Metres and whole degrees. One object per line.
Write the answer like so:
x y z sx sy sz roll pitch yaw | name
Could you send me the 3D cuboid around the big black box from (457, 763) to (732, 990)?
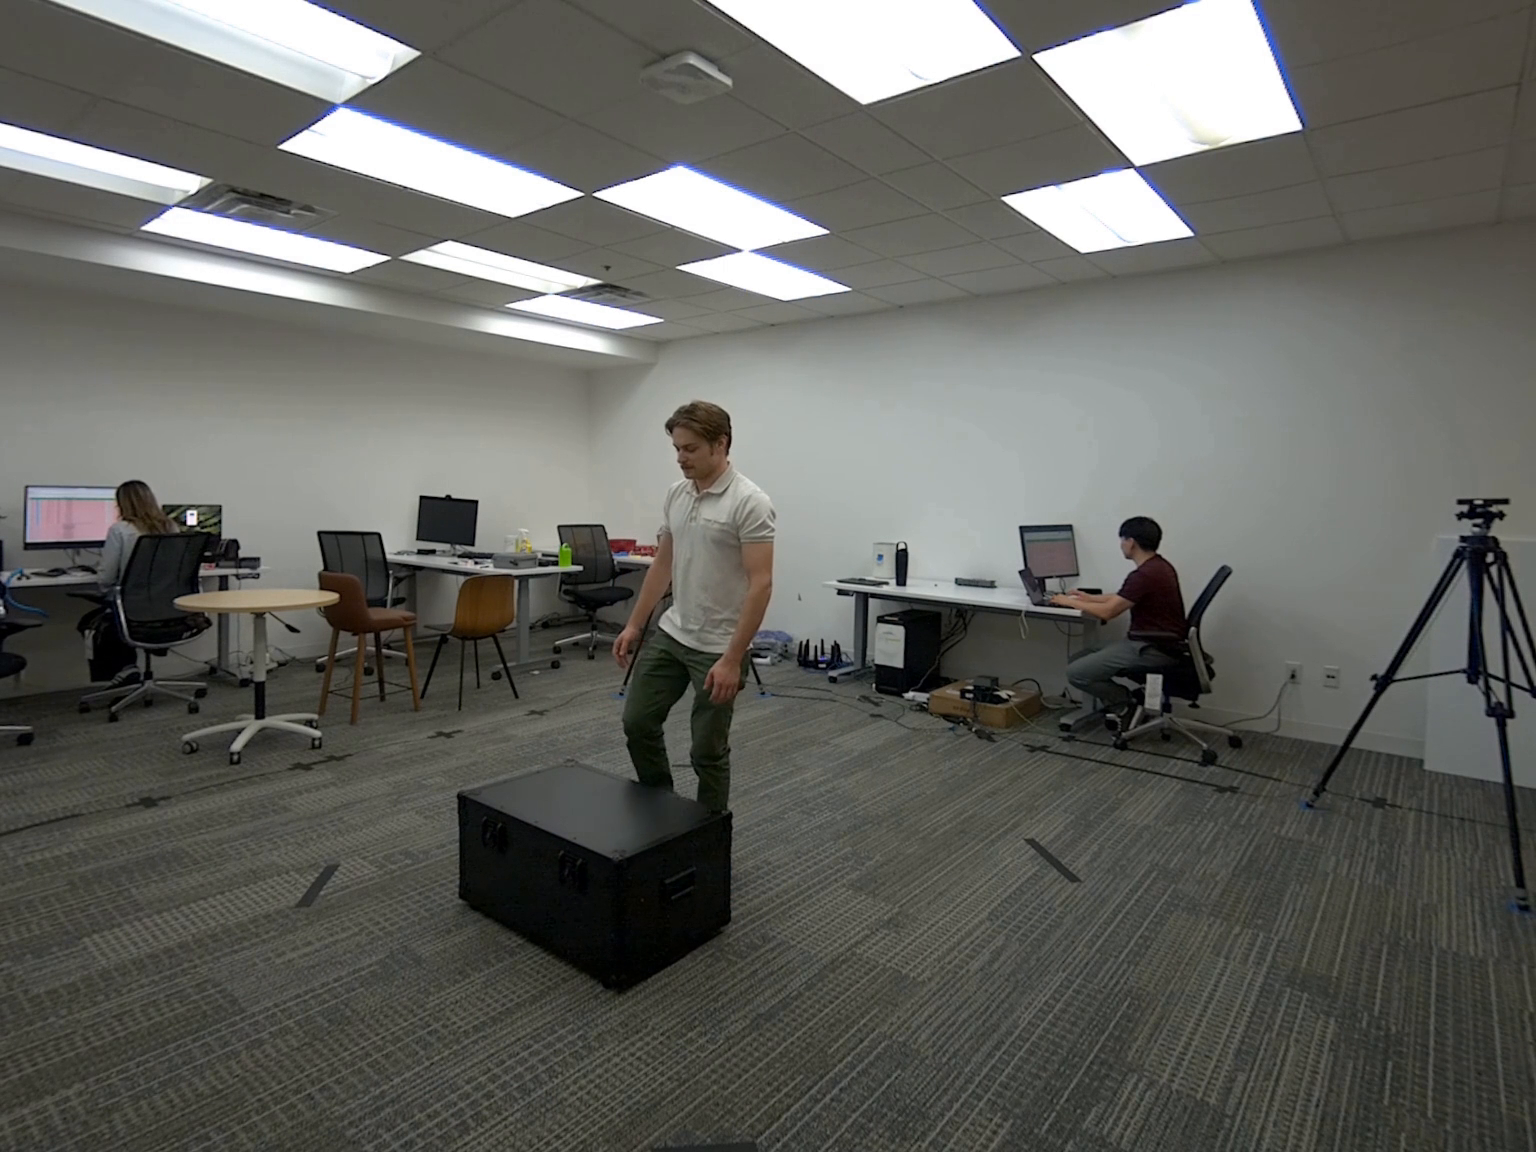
-0.601 0.900 2.765 0.897 0.383 0.509 4 7 39 | big black box
